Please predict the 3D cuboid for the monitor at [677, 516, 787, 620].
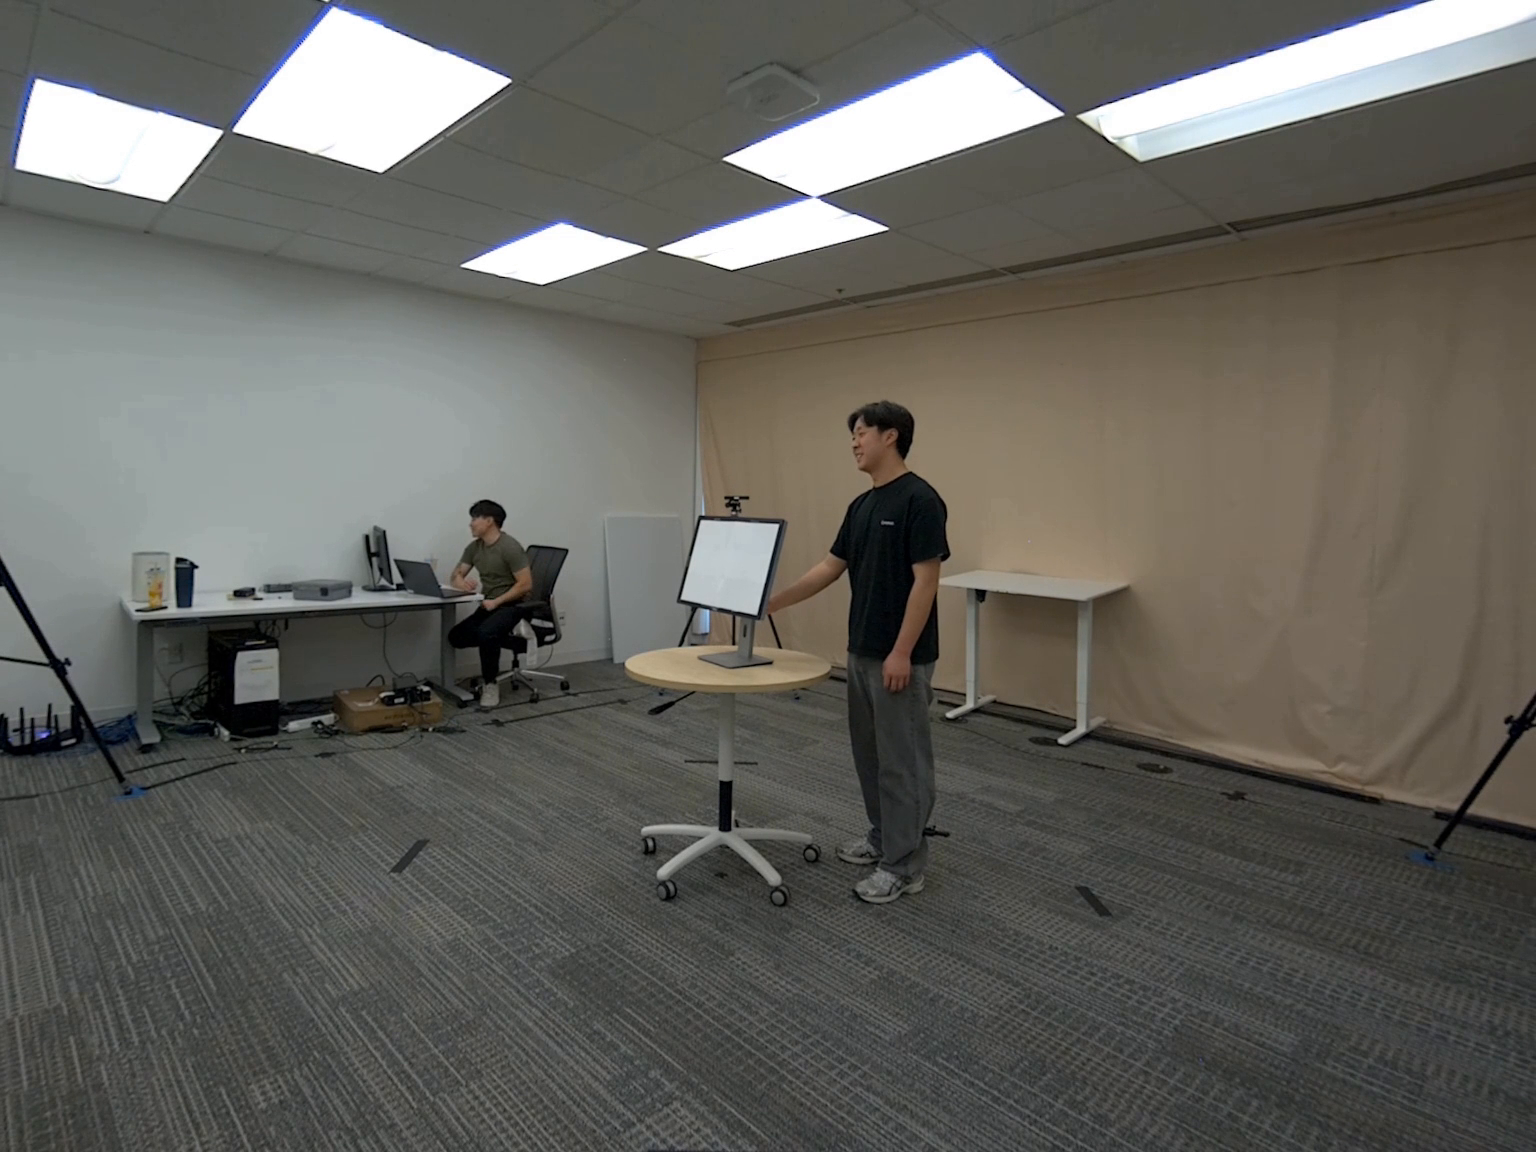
[{"bbox_3d":[-0.127,0.062,3.164,0.217,0.565,0.575,-2,4,-33],"label":"monitor"}]
